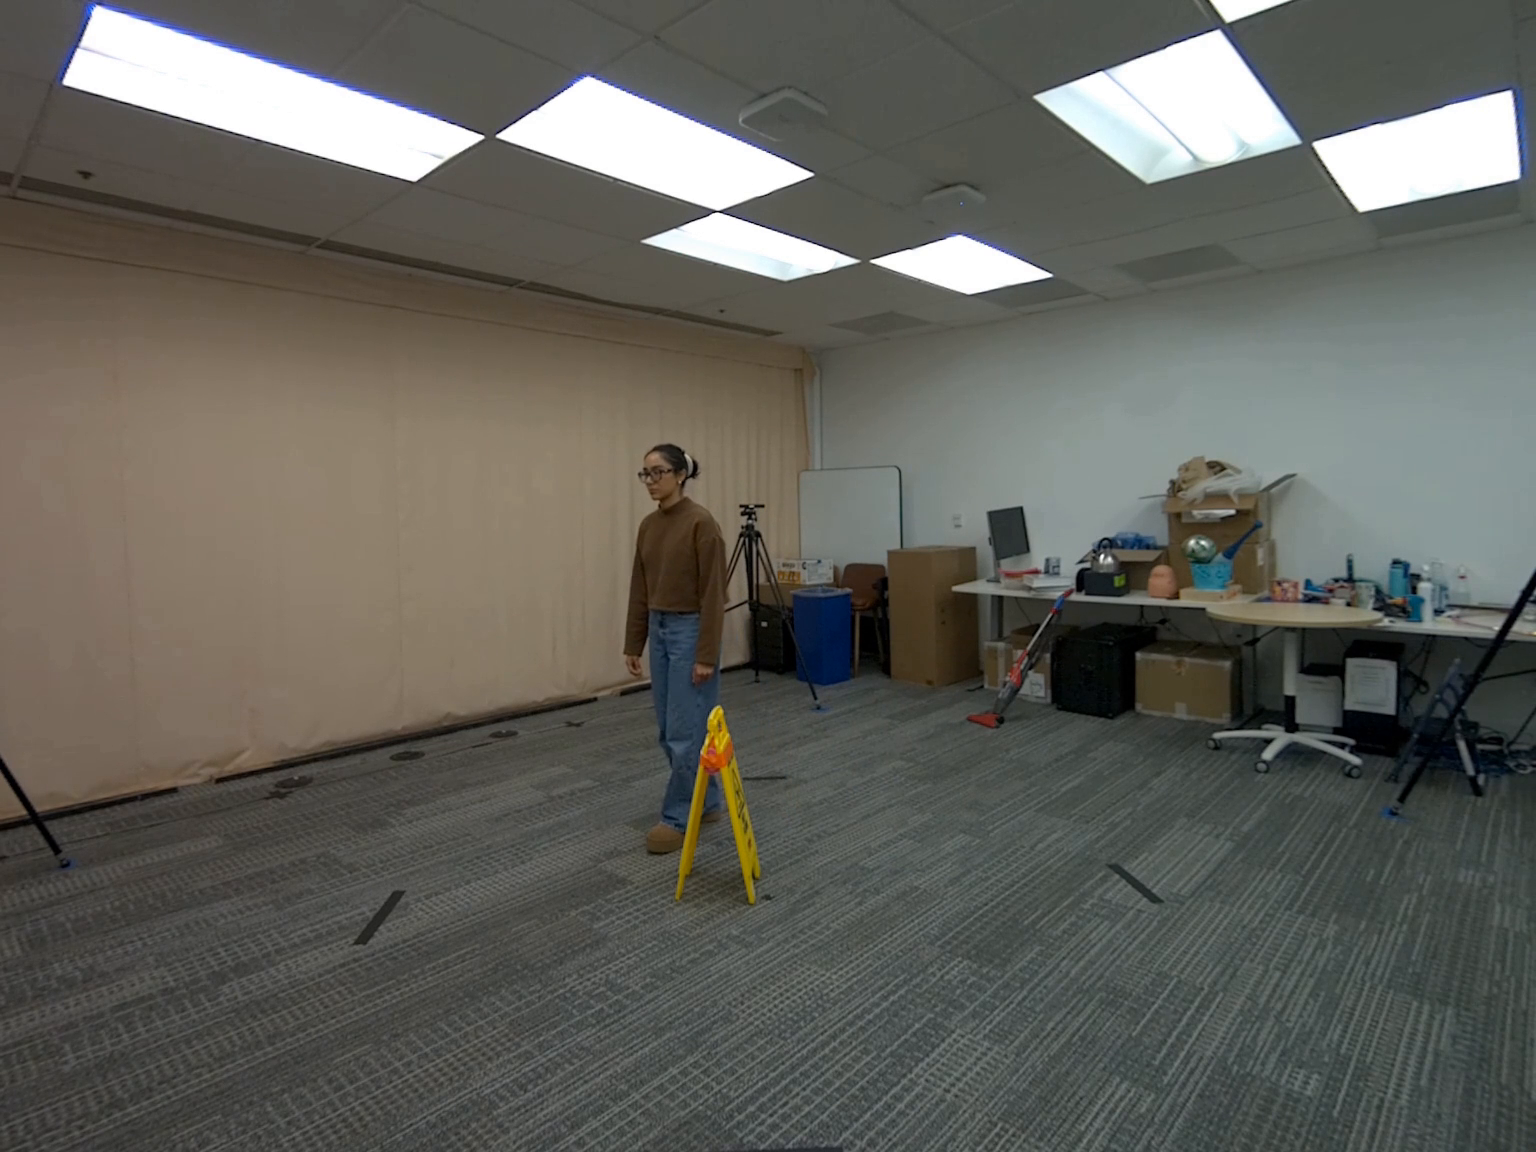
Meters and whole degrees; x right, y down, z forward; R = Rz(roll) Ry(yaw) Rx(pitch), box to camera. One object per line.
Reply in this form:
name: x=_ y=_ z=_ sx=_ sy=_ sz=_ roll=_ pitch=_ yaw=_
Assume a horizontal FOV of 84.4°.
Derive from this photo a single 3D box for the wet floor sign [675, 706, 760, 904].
wet floor sign: x=-0.185 y=0.815 z=3.060 sx=0.292 sy=0.645 sz=0.281 roll=-1 pitch=2 yaw=6
